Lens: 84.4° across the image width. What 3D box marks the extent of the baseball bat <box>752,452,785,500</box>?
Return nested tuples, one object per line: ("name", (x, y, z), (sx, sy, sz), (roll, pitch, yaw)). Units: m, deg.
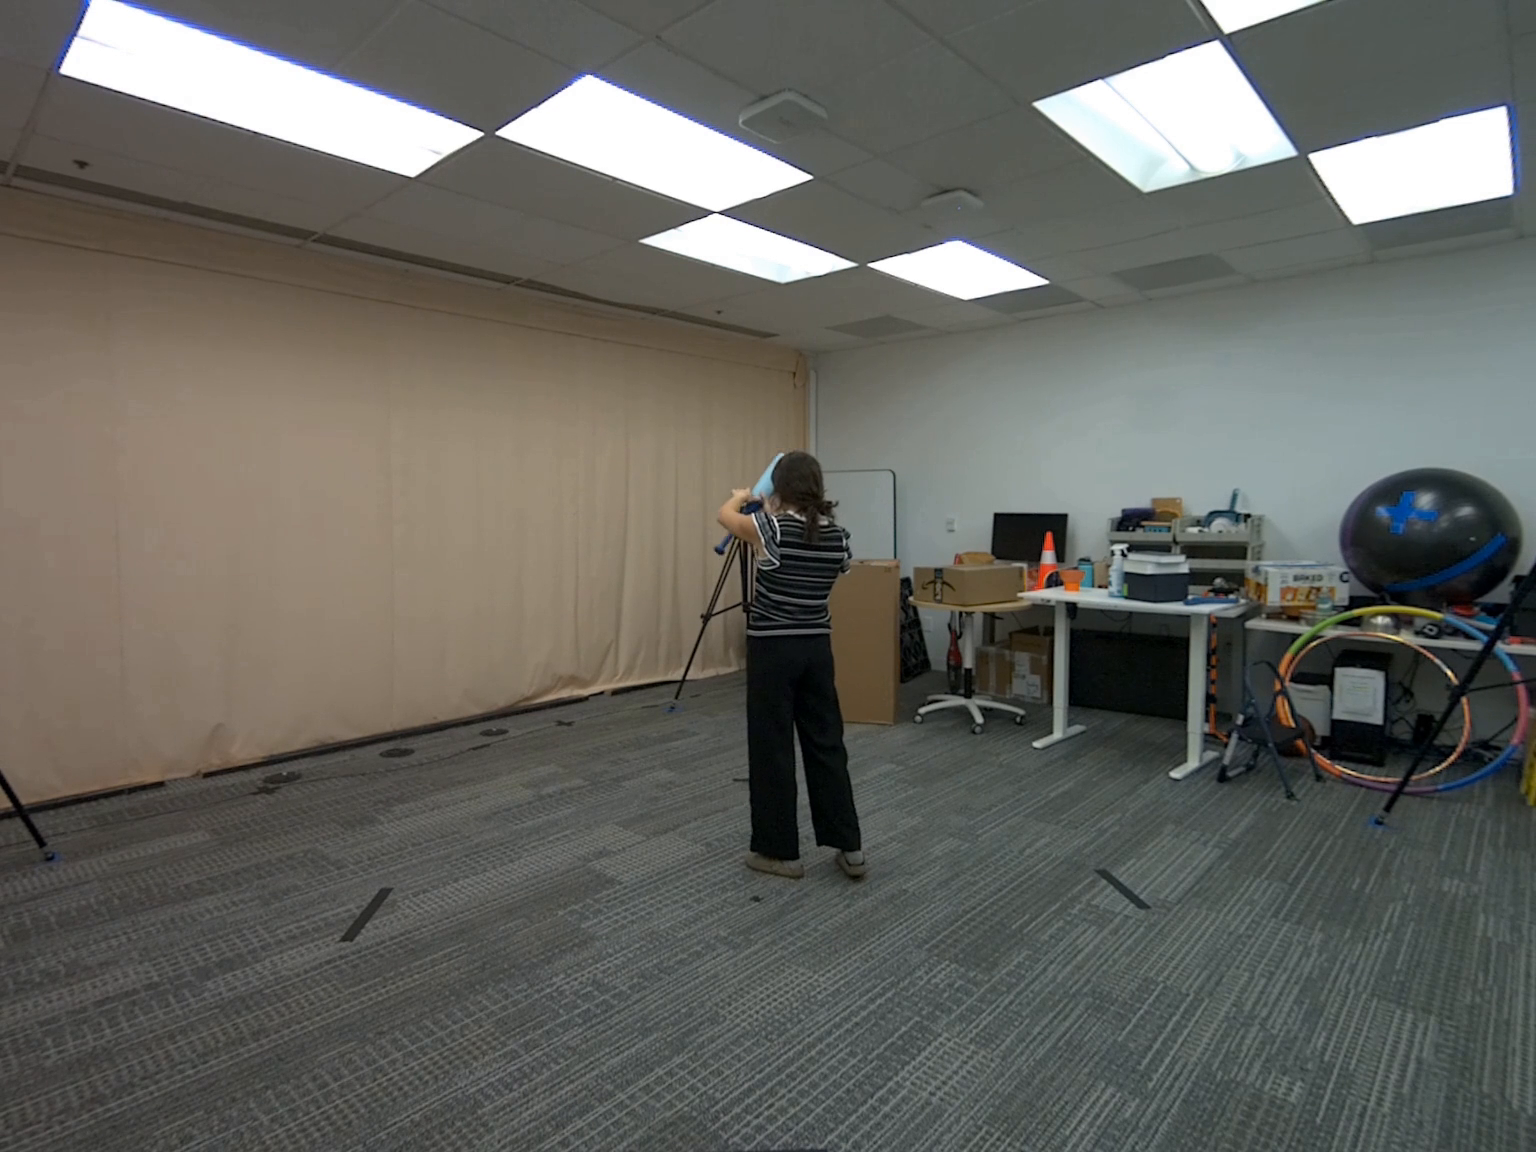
("baseball bat", (-0.057, -0.306, 3.616), (0.090, 0.542, 0.088), (31, -19, 10))
